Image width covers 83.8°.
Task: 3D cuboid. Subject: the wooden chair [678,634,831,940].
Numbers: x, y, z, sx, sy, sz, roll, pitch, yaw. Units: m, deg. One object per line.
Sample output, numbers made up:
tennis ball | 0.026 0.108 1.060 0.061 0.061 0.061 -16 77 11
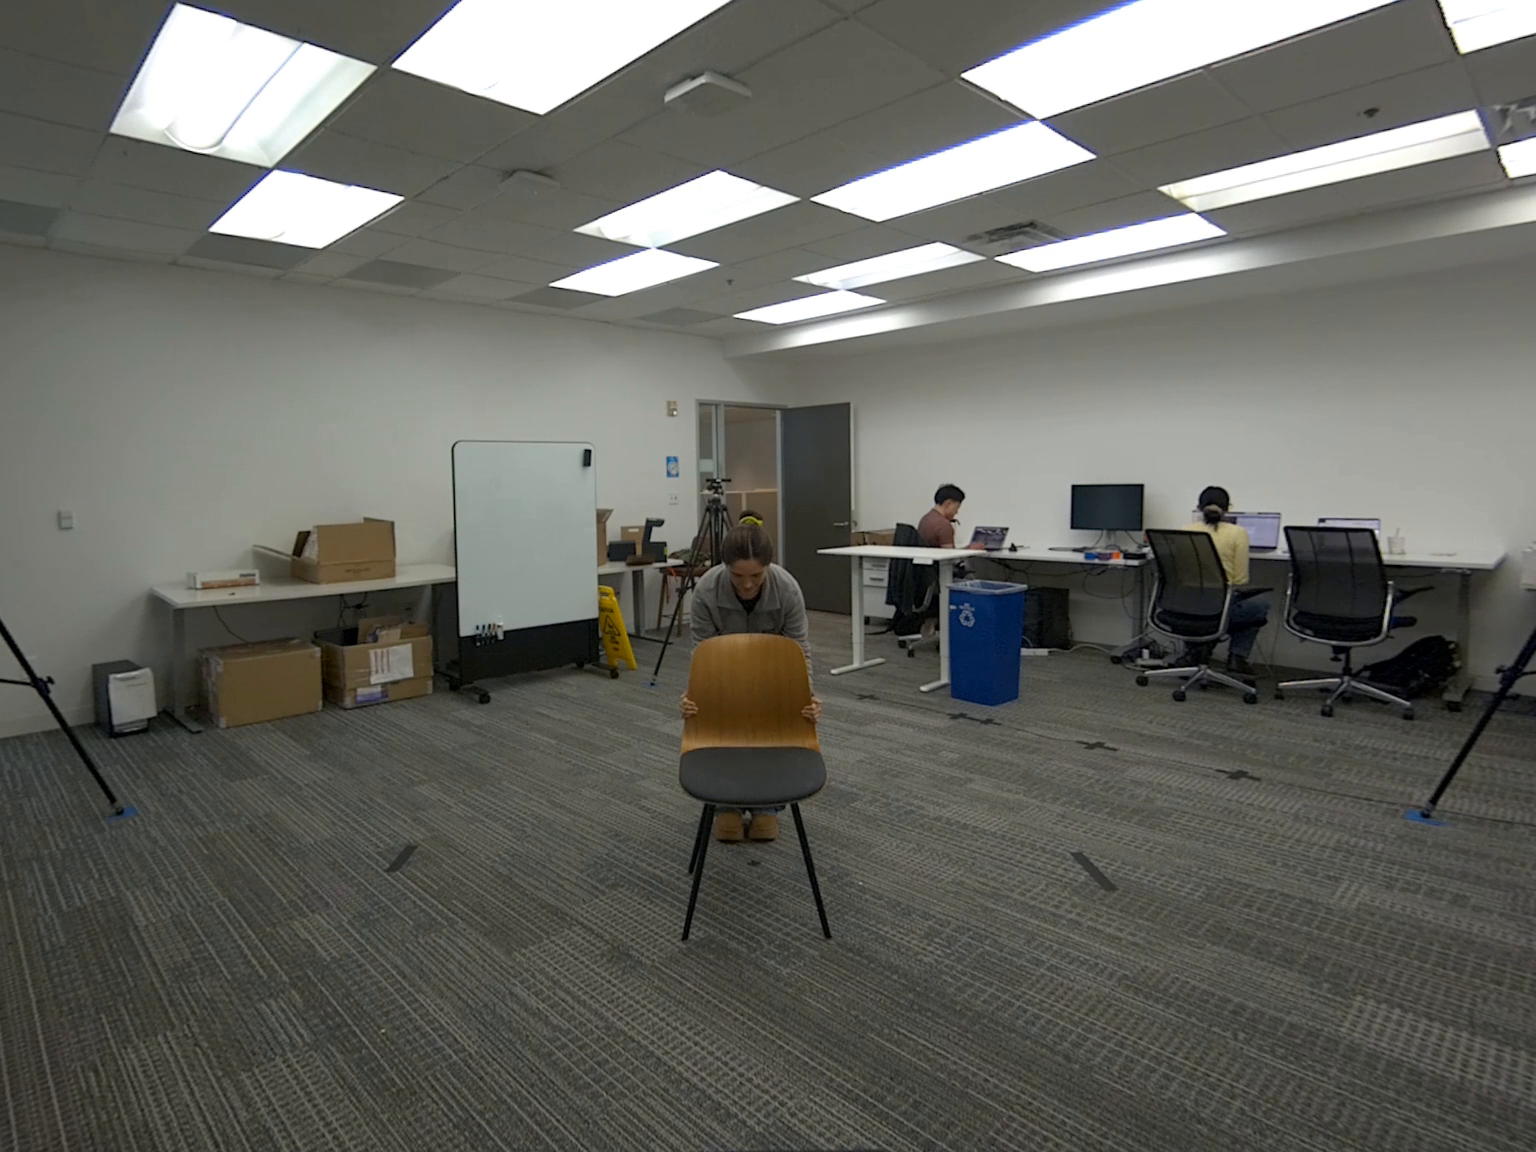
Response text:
wooden chair | -0.054 0.658 2.768 0.478 0.877 0.524 0 1 -1
